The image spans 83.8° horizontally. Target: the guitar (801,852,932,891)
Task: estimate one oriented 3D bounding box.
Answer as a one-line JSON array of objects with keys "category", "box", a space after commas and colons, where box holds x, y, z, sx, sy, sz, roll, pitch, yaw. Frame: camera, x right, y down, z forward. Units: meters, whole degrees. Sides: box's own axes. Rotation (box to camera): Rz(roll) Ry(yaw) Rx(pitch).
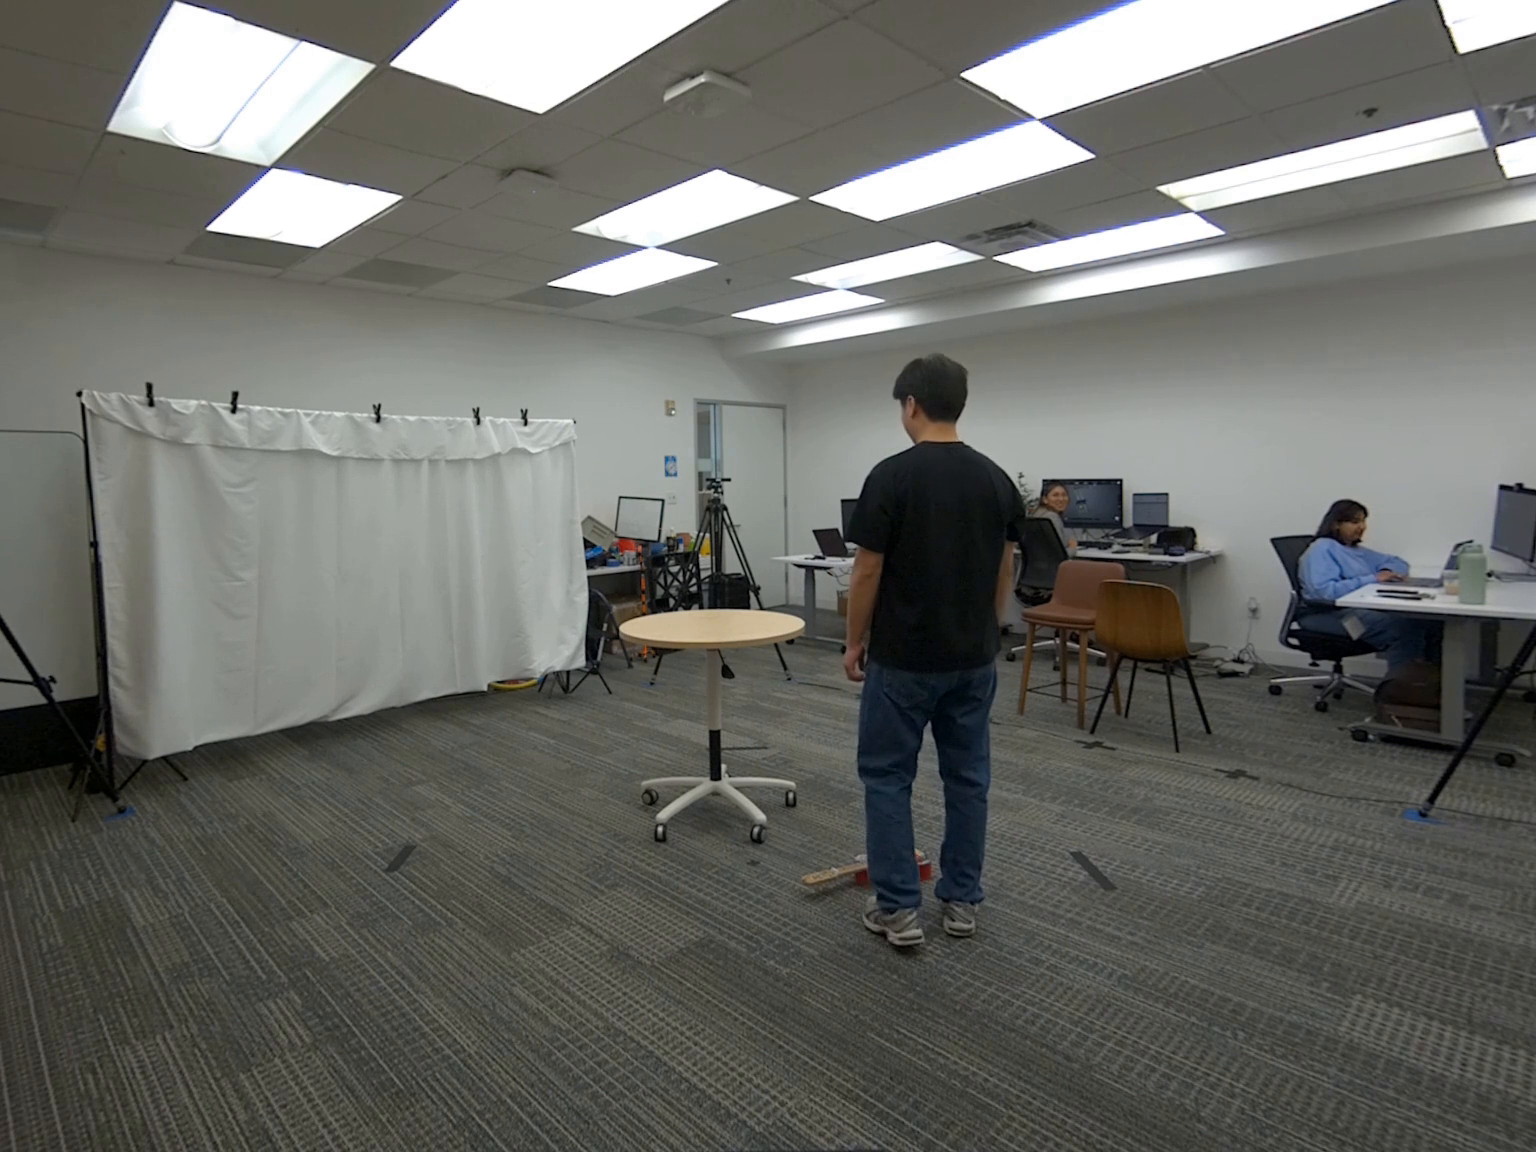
[{"category": "guitar", "box": [0.326, 1.017, 2.970, 0.489, 0.070, 0.197, -3, 7, -19]}]
